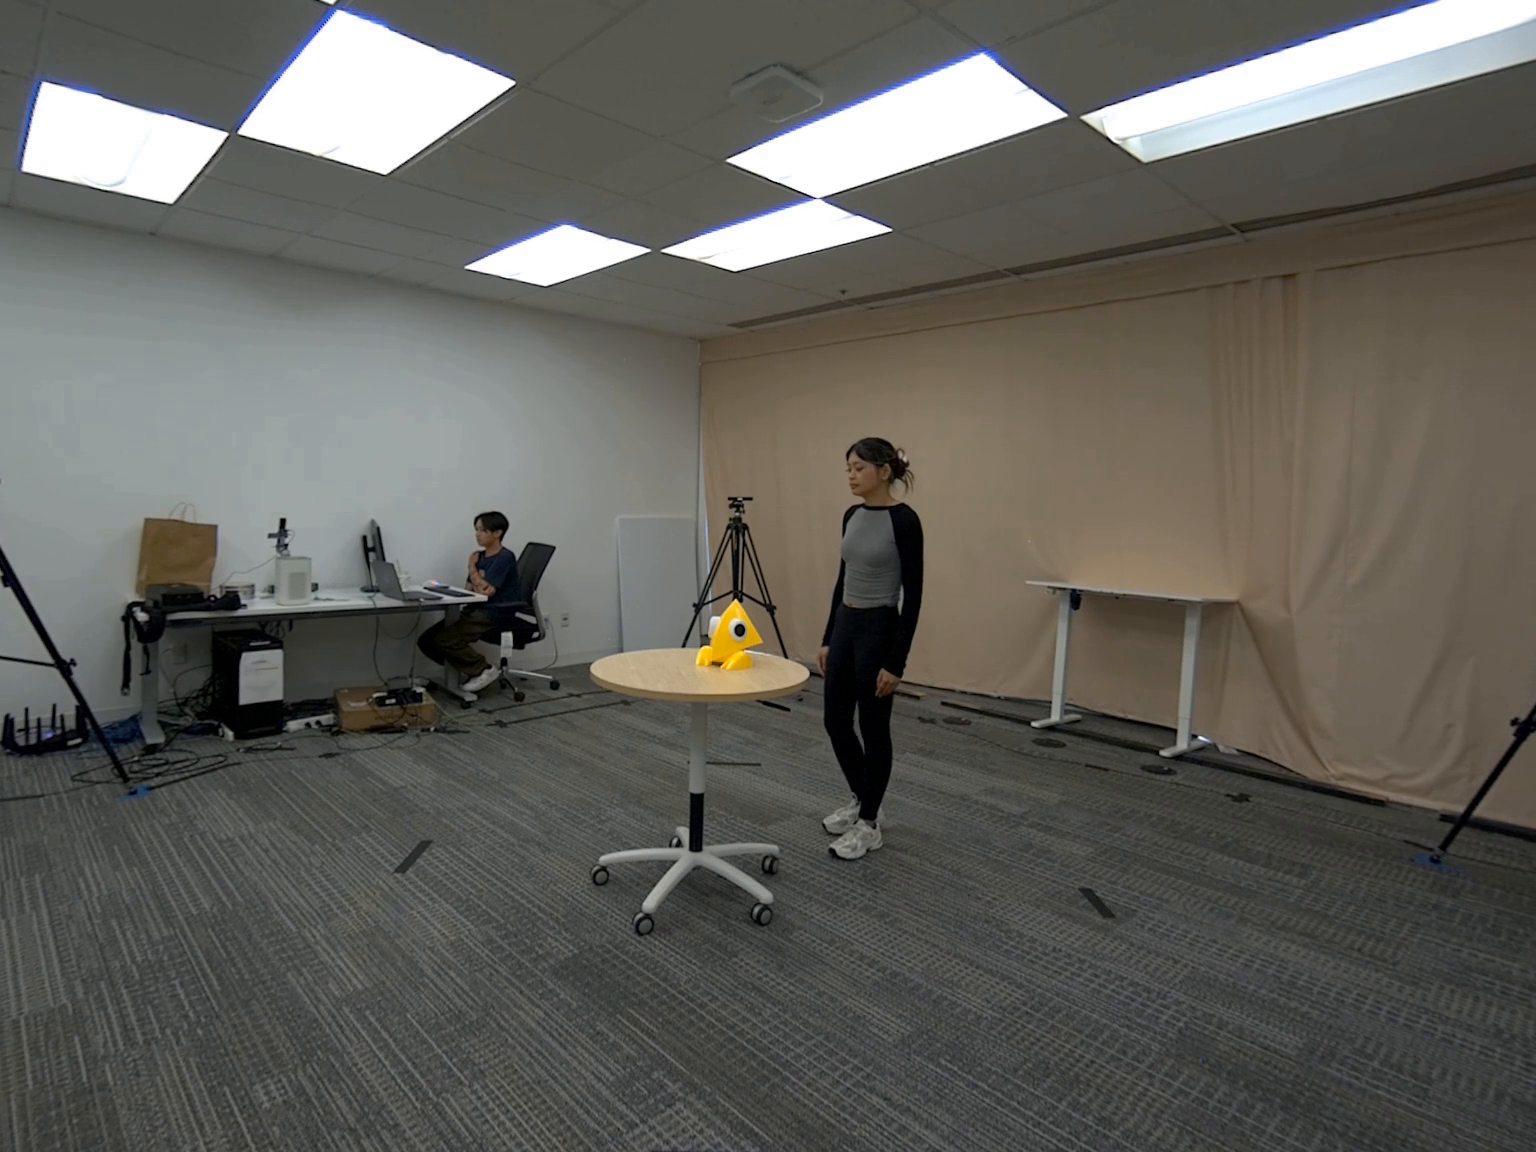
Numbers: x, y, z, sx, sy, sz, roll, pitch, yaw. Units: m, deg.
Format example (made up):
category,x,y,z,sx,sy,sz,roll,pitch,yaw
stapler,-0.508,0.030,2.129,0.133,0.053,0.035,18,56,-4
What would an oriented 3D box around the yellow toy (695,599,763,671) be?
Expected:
category,x,y,z,sx,sy,sz,roll,pitch,yaw
yellow toy,-0.154,0.206,3.038,0.209,0.230,0.189,4,4,30
